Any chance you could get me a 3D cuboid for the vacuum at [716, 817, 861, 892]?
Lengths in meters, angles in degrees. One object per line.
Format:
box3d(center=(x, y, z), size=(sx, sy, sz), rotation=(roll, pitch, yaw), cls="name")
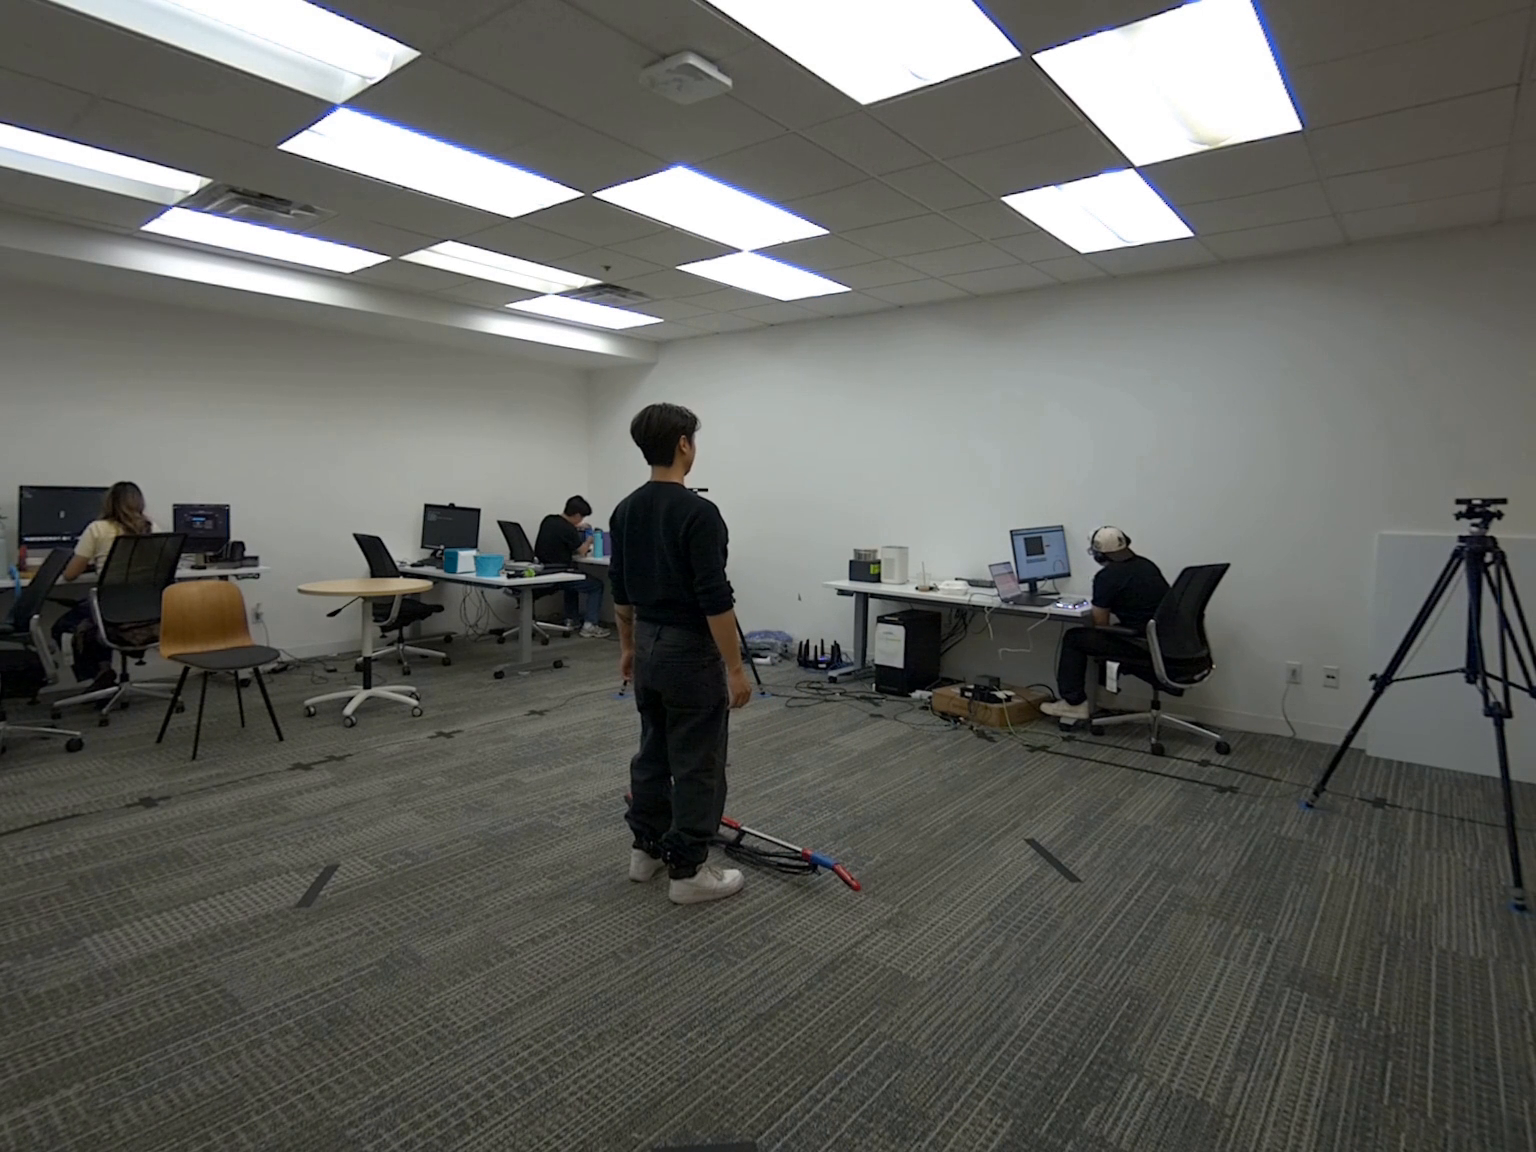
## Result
box3d(center=(-0.094, 0.995, 3.220), size=(1.086, 0.143, 0.246), rotation=(7, 11, 43), cls="vacuum")
